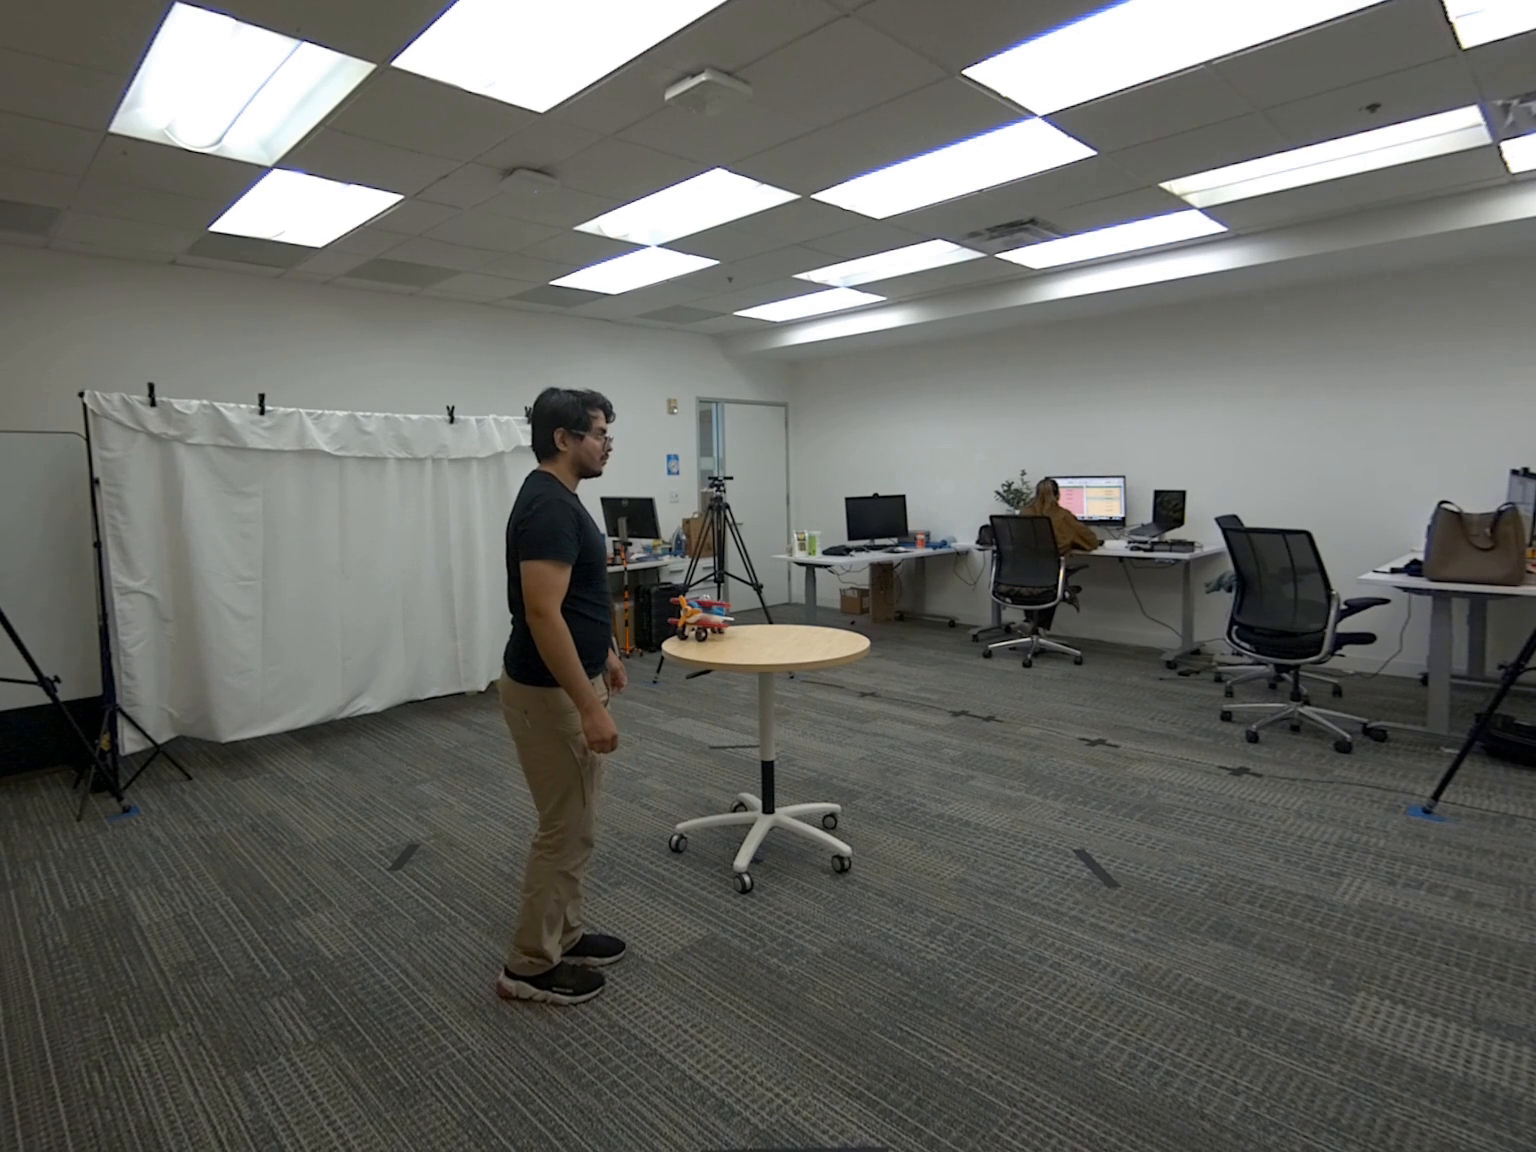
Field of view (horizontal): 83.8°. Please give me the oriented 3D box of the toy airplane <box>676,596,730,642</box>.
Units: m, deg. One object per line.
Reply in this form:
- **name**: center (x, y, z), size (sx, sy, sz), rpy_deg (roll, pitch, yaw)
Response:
- **toy airplane**: center (-0.263, 0.159, 3.303), size (0.252, 0.155, 0.260), rpy_deg (-1, 7, 3)
